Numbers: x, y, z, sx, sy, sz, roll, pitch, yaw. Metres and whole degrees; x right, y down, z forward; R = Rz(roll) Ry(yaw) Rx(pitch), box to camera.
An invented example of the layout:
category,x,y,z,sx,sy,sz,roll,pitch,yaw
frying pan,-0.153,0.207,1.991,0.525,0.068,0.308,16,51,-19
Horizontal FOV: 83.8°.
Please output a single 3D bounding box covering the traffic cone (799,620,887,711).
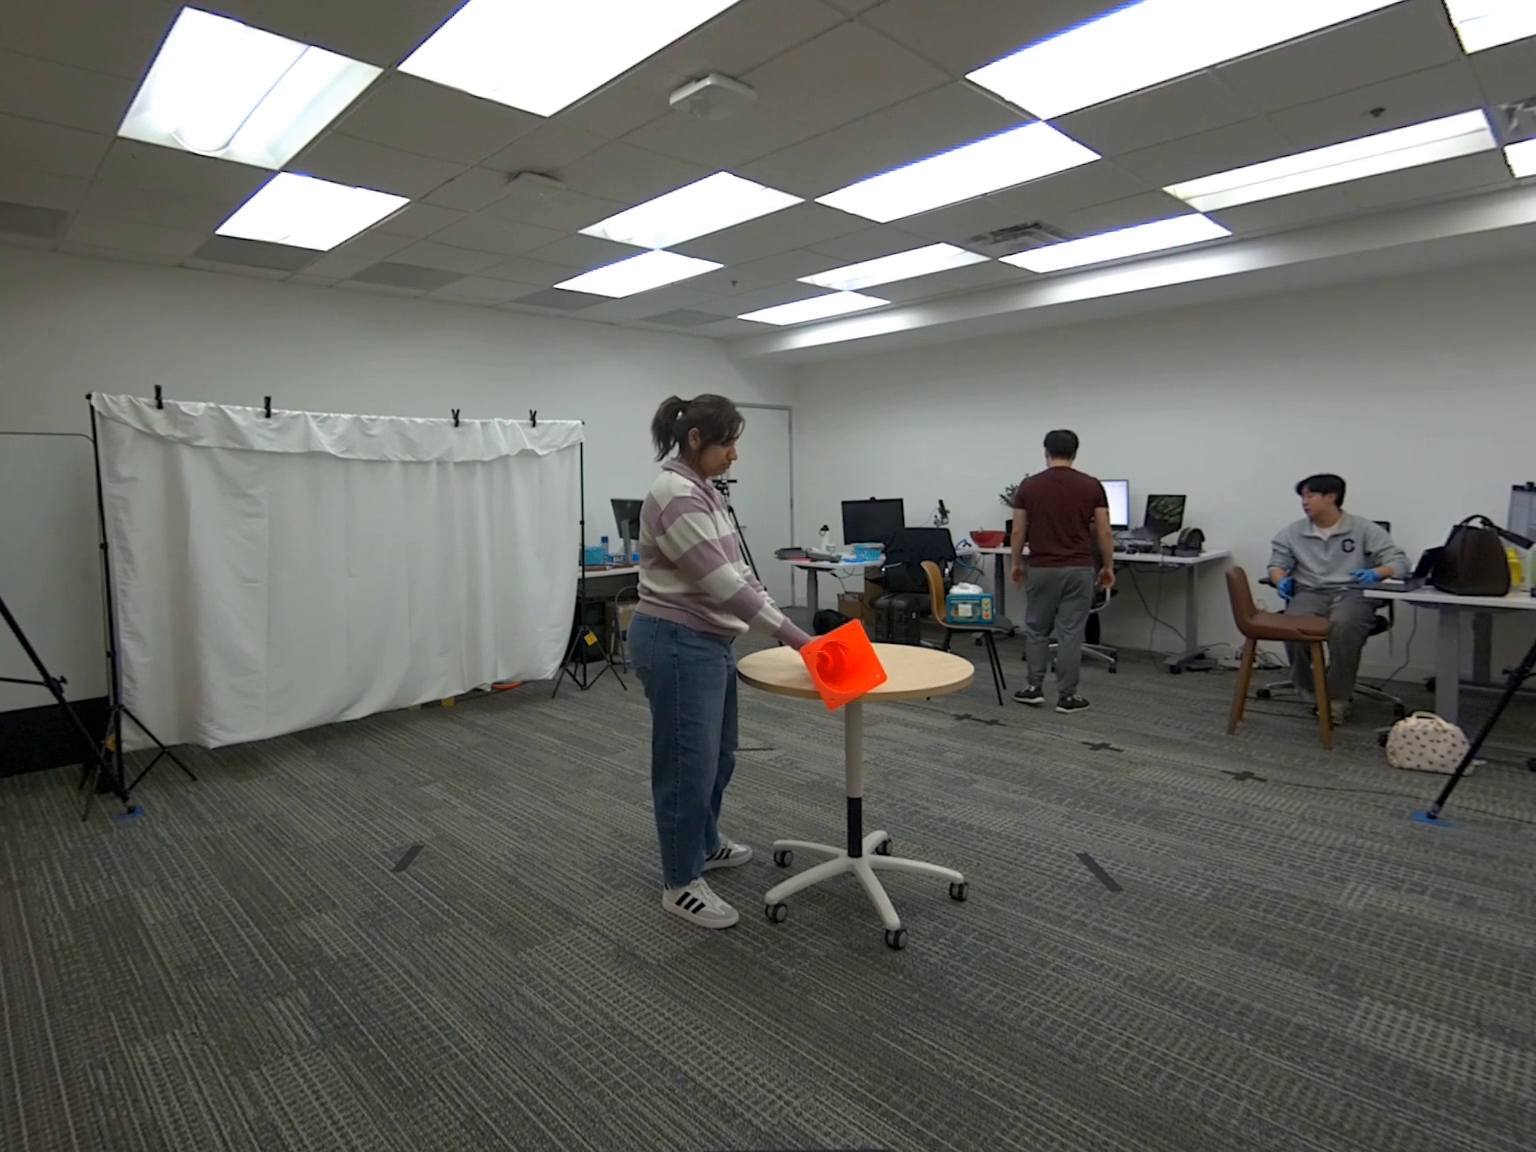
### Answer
category,x,y,z,sx,sy,sz,roll,pitch,yaw
traffic cone,0.175,0.262,2.617,0.202,0.205,0.385,-27,1,-11
